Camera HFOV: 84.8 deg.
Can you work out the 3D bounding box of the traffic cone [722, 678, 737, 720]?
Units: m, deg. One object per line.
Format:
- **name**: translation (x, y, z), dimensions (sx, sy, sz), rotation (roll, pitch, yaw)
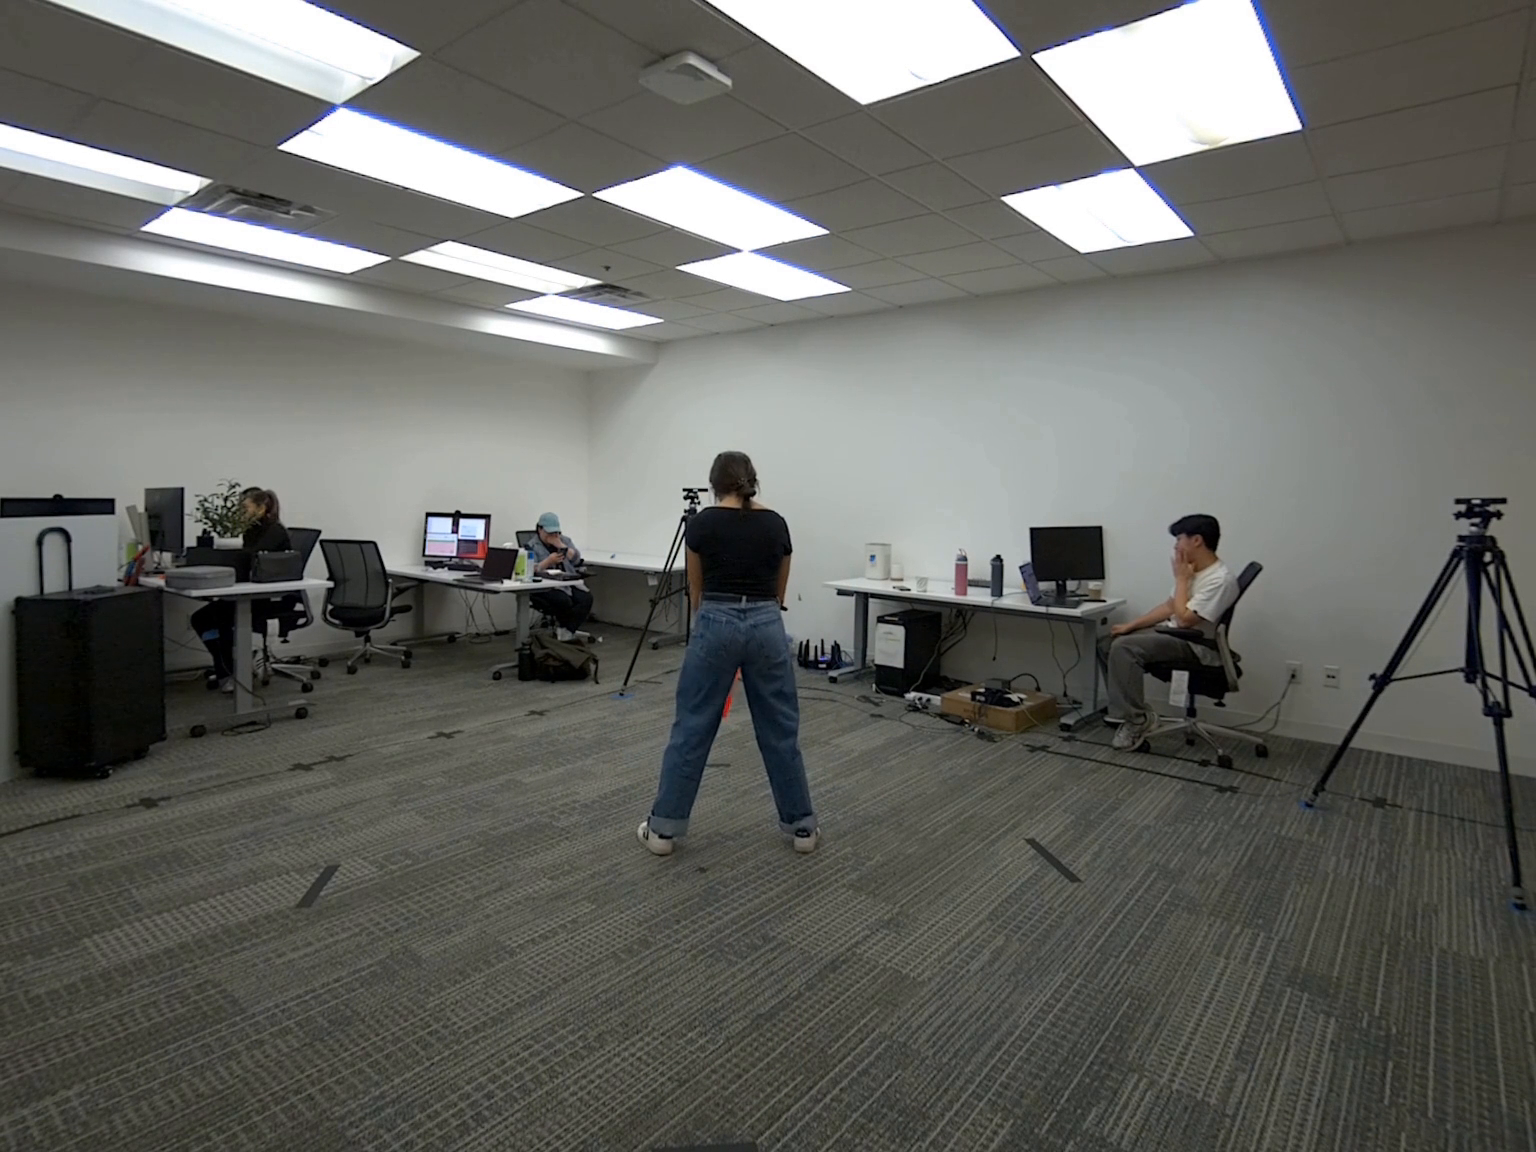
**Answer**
- **traffic cone**: translation (-0.180, 0.440, 3.664), dimensions (0.199, 0.376, 0.214), rotation (-9, 28, -29)
